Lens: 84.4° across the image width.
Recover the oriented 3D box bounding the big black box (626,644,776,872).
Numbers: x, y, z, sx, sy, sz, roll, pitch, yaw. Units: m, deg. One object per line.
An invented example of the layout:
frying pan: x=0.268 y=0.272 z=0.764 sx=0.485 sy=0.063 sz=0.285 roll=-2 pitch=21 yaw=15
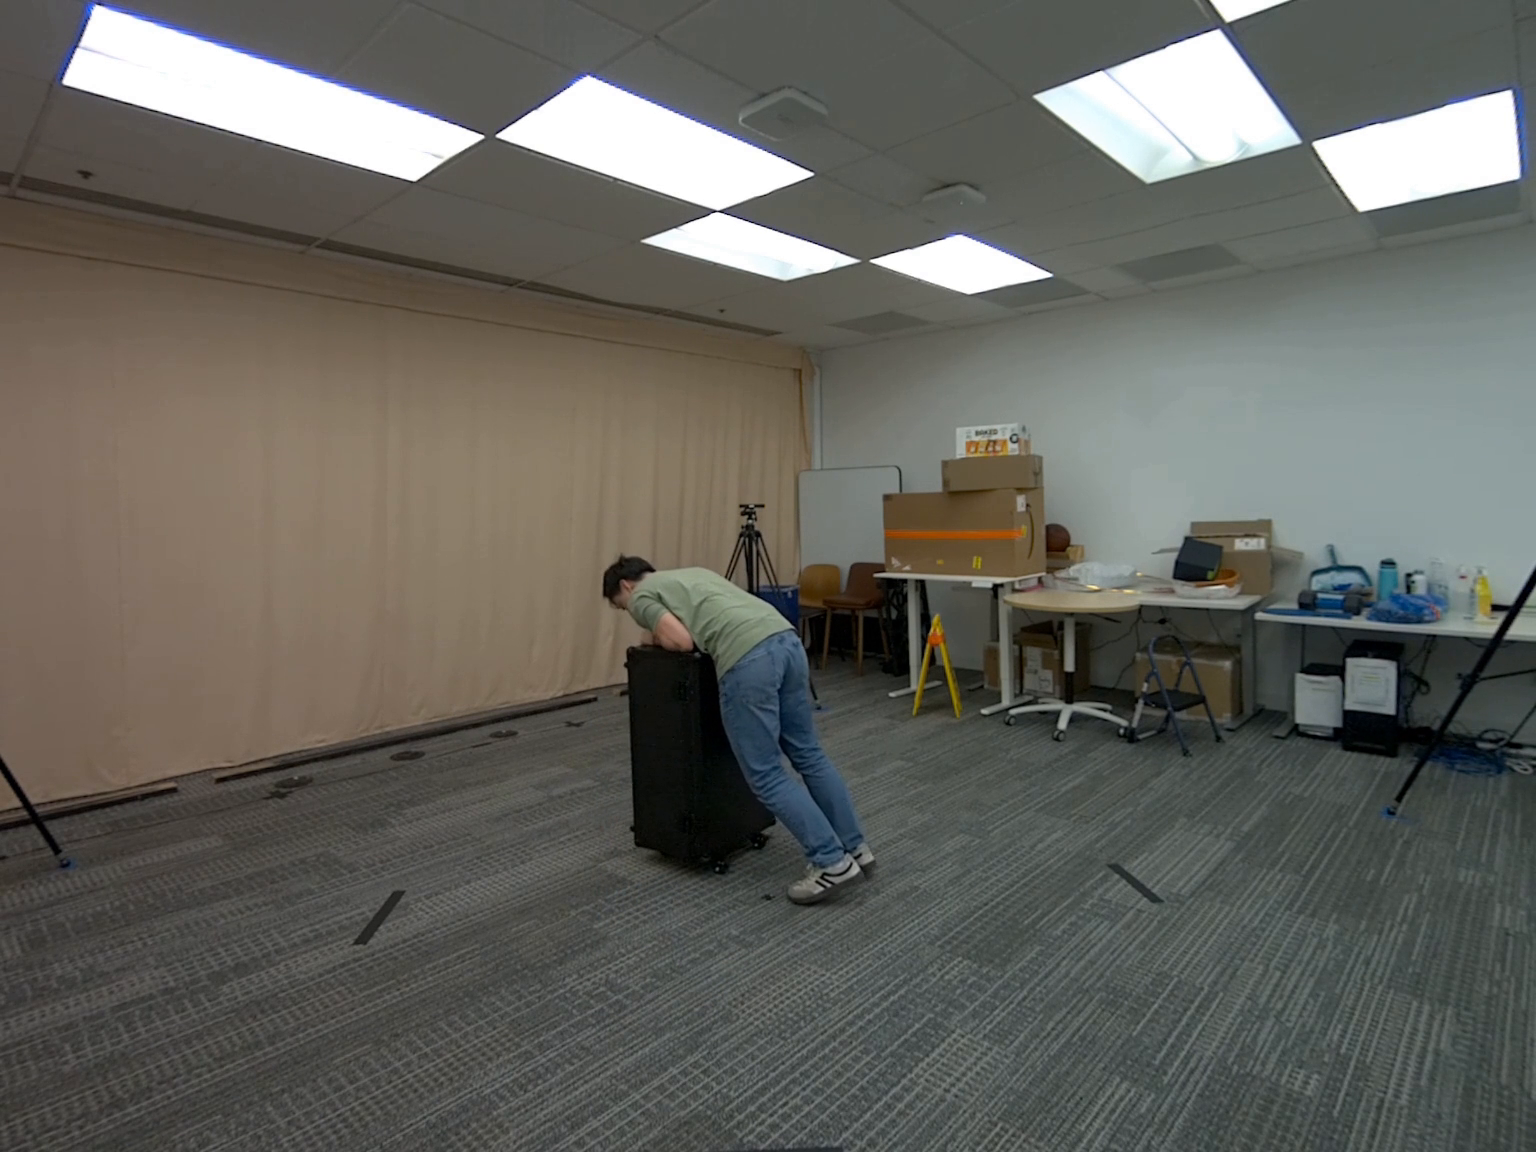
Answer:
big black box: x=-0.266 y=0.691 z=3.368 sx=0.408 sy=0.860 sz=0.506 roll=-1 pitch=4 yaw=35
